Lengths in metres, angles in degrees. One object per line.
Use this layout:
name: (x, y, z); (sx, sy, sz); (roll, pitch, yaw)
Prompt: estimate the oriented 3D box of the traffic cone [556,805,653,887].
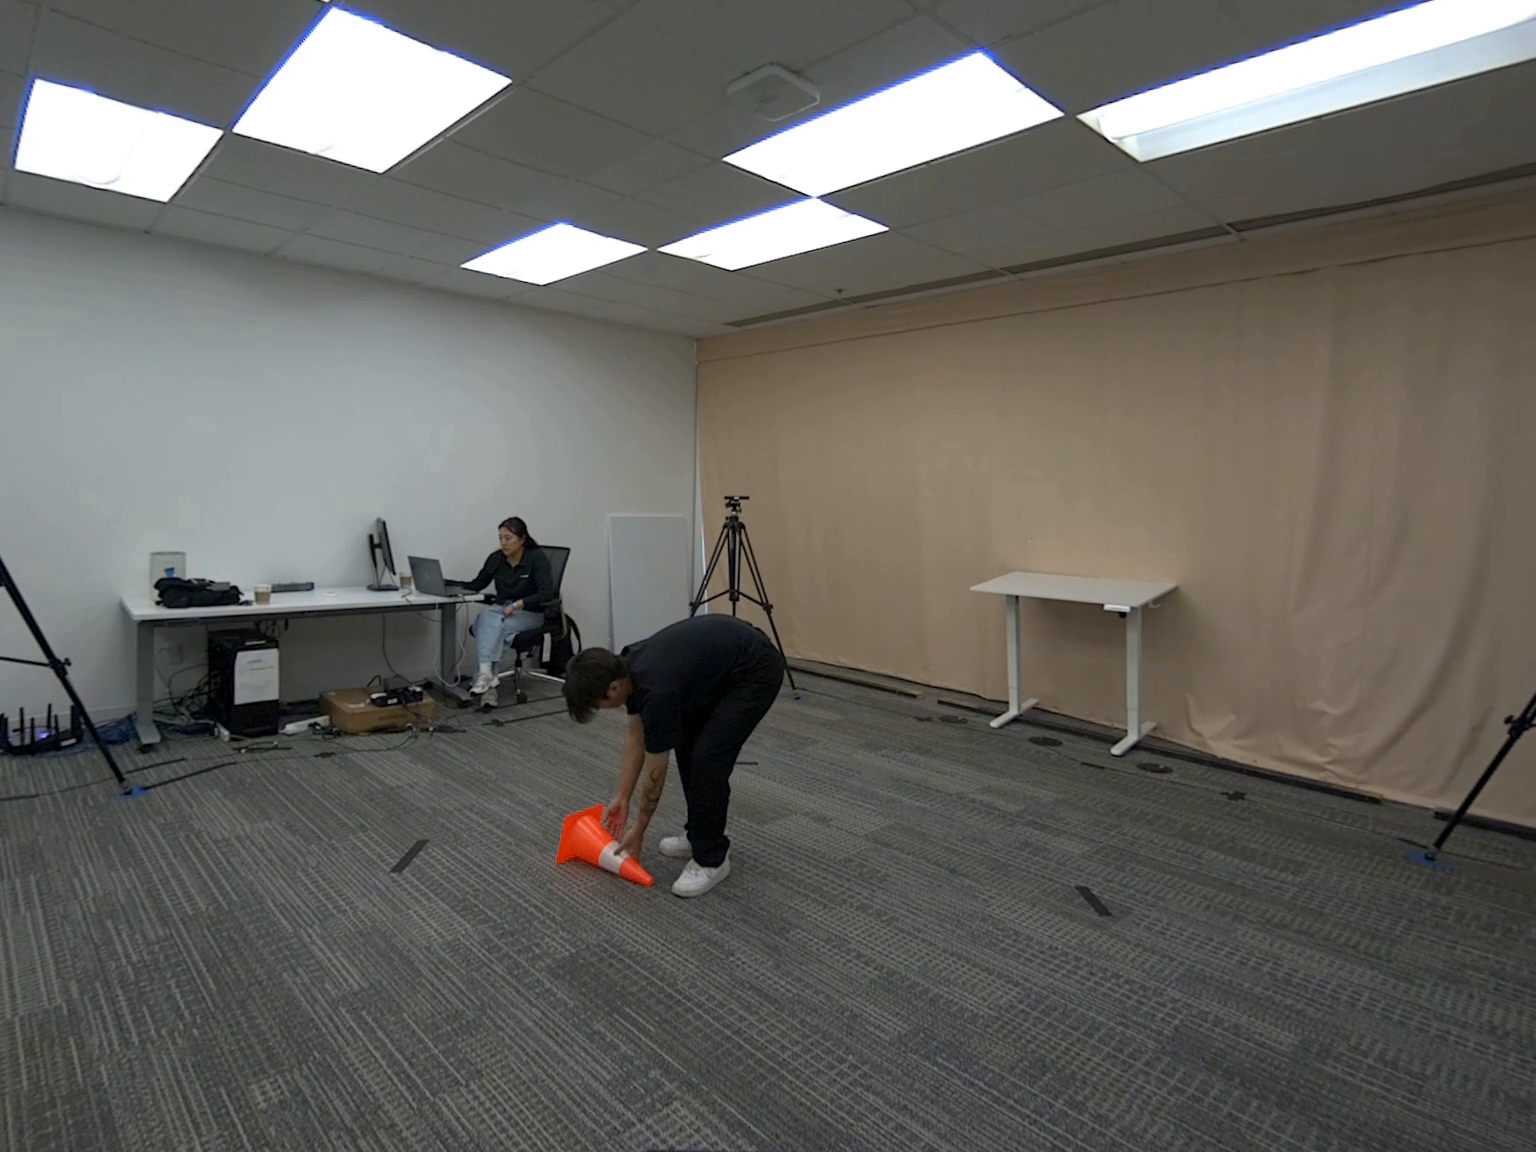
traffic cone: (-0.577, 1.046, 3.115); (0.395, 0.203, 0.199); (23, 16, 35)
